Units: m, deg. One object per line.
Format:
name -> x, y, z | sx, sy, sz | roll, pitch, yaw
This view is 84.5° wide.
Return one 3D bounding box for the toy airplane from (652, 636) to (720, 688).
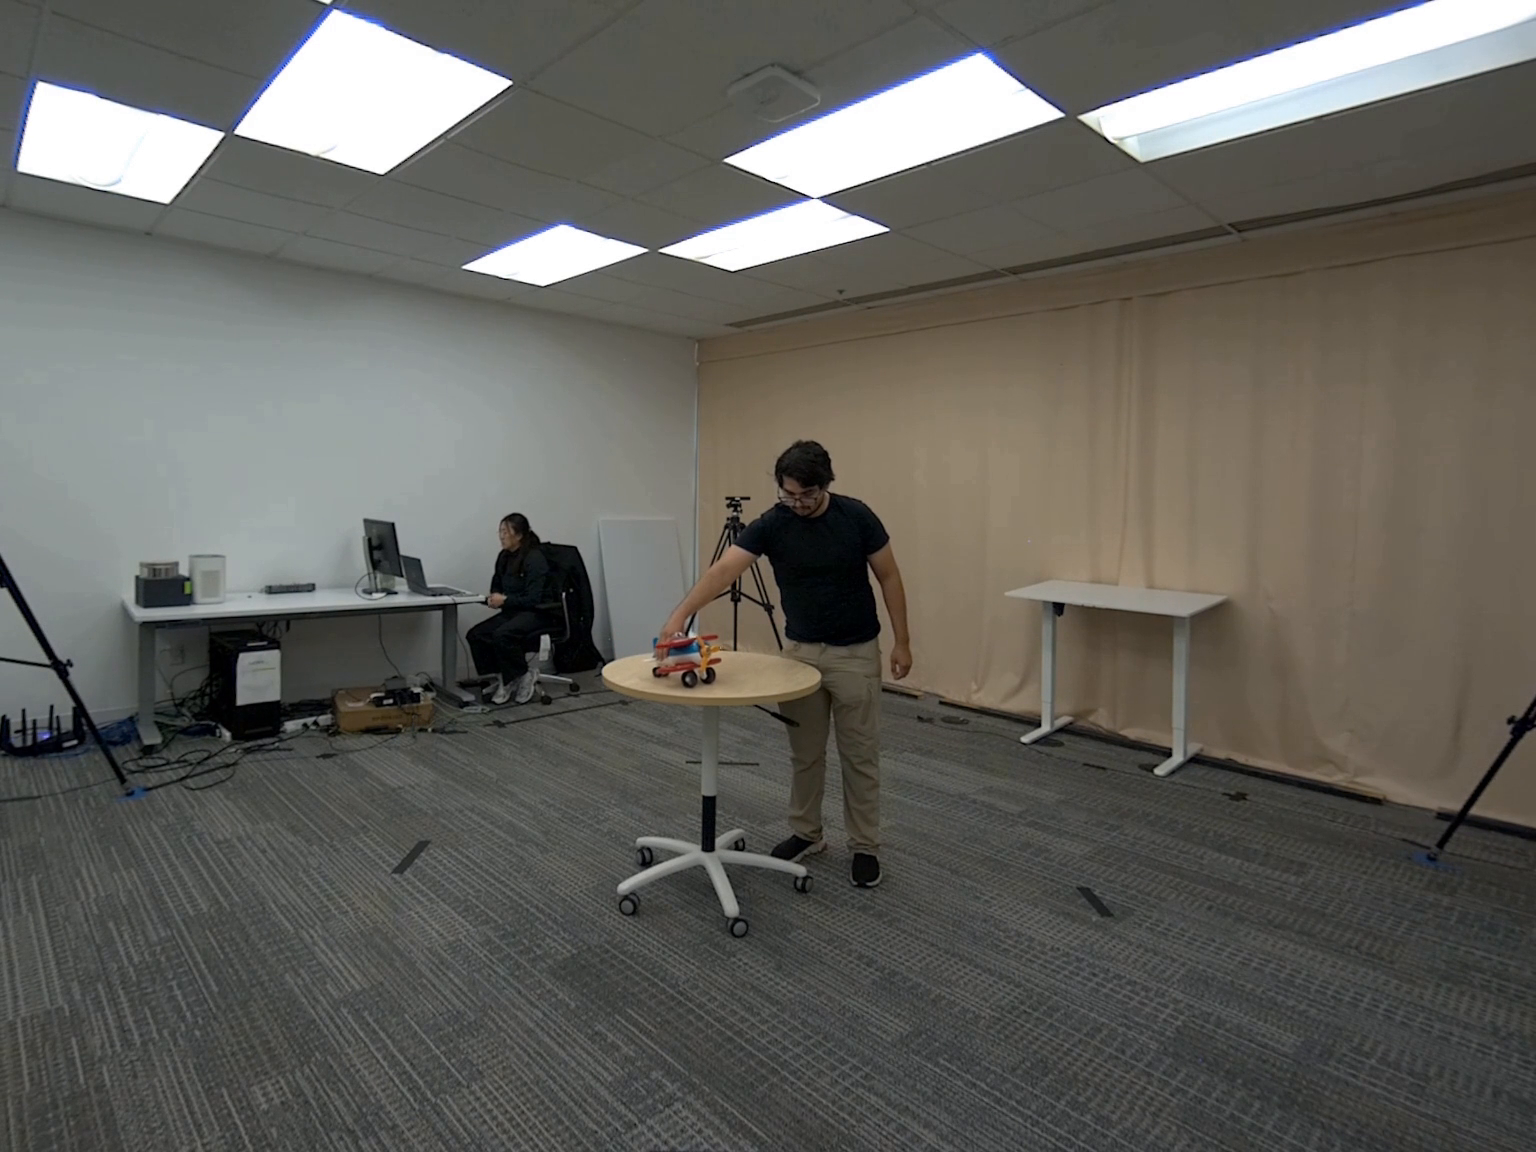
toy airplane -> -0.301, 0.277, 2.762 | 0.262, 0.156, 0.249 | 3, 6, 13
